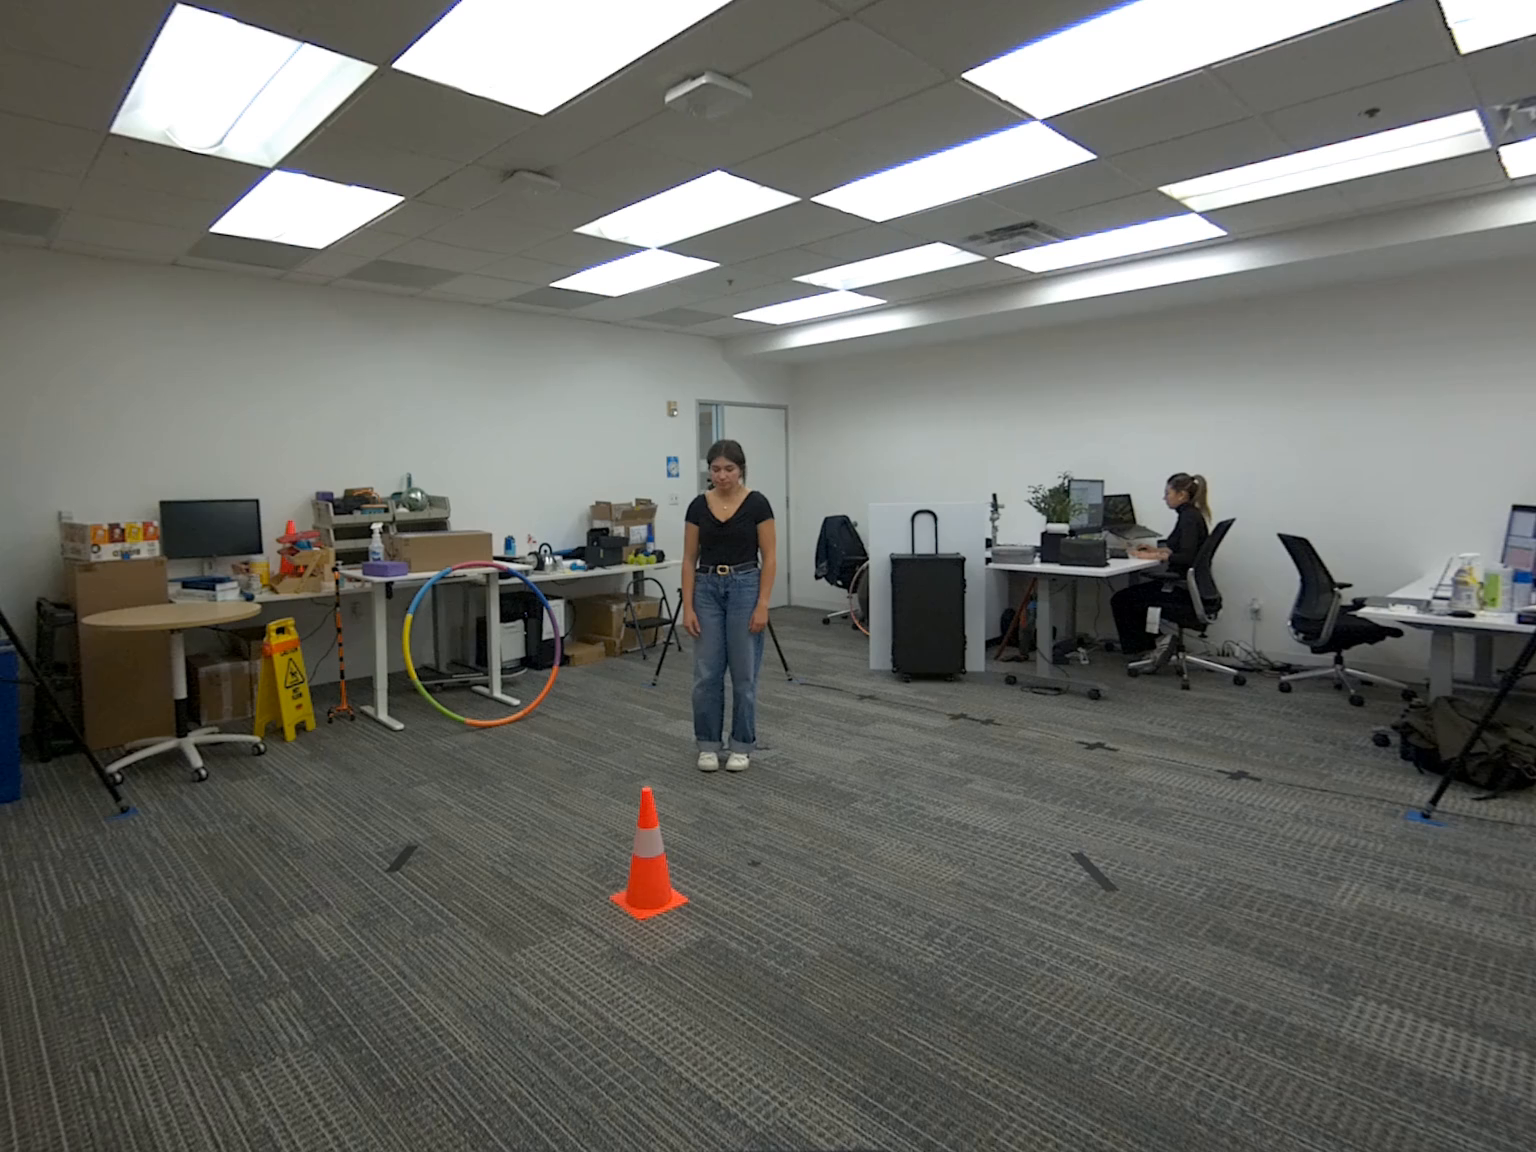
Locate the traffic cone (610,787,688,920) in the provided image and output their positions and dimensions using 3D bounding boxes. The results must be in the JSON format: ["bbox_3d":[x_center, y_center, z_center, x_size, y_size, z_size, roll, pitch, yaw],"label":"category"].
[{"bbox_3d":[-0.398,0.900,2.842,0.200,0.381,0.210,-6,8,-39],"label":"traffic cone"}]
